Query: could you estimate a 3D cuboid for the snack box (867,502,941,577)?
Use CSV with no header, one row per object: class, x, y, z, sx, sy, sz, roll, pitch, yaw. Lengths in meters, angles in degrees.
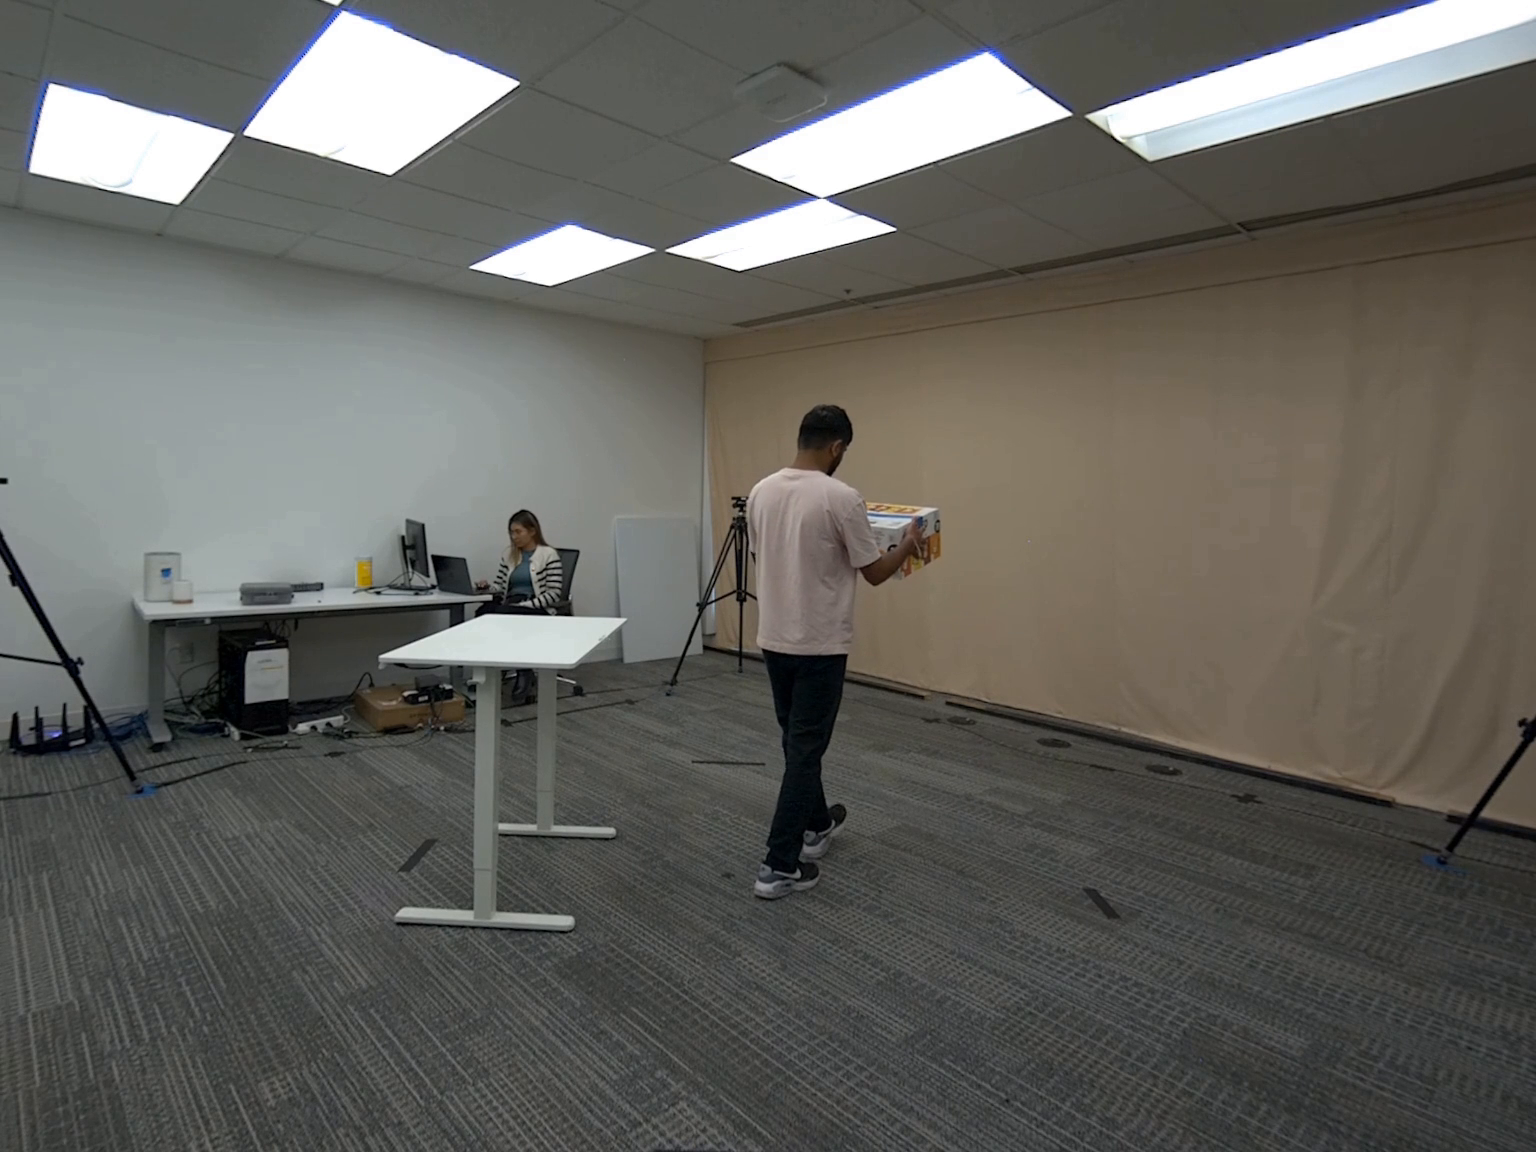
snack box,0.427,-0.152,3.389,0.416,0.203,0.336,9,21,38
